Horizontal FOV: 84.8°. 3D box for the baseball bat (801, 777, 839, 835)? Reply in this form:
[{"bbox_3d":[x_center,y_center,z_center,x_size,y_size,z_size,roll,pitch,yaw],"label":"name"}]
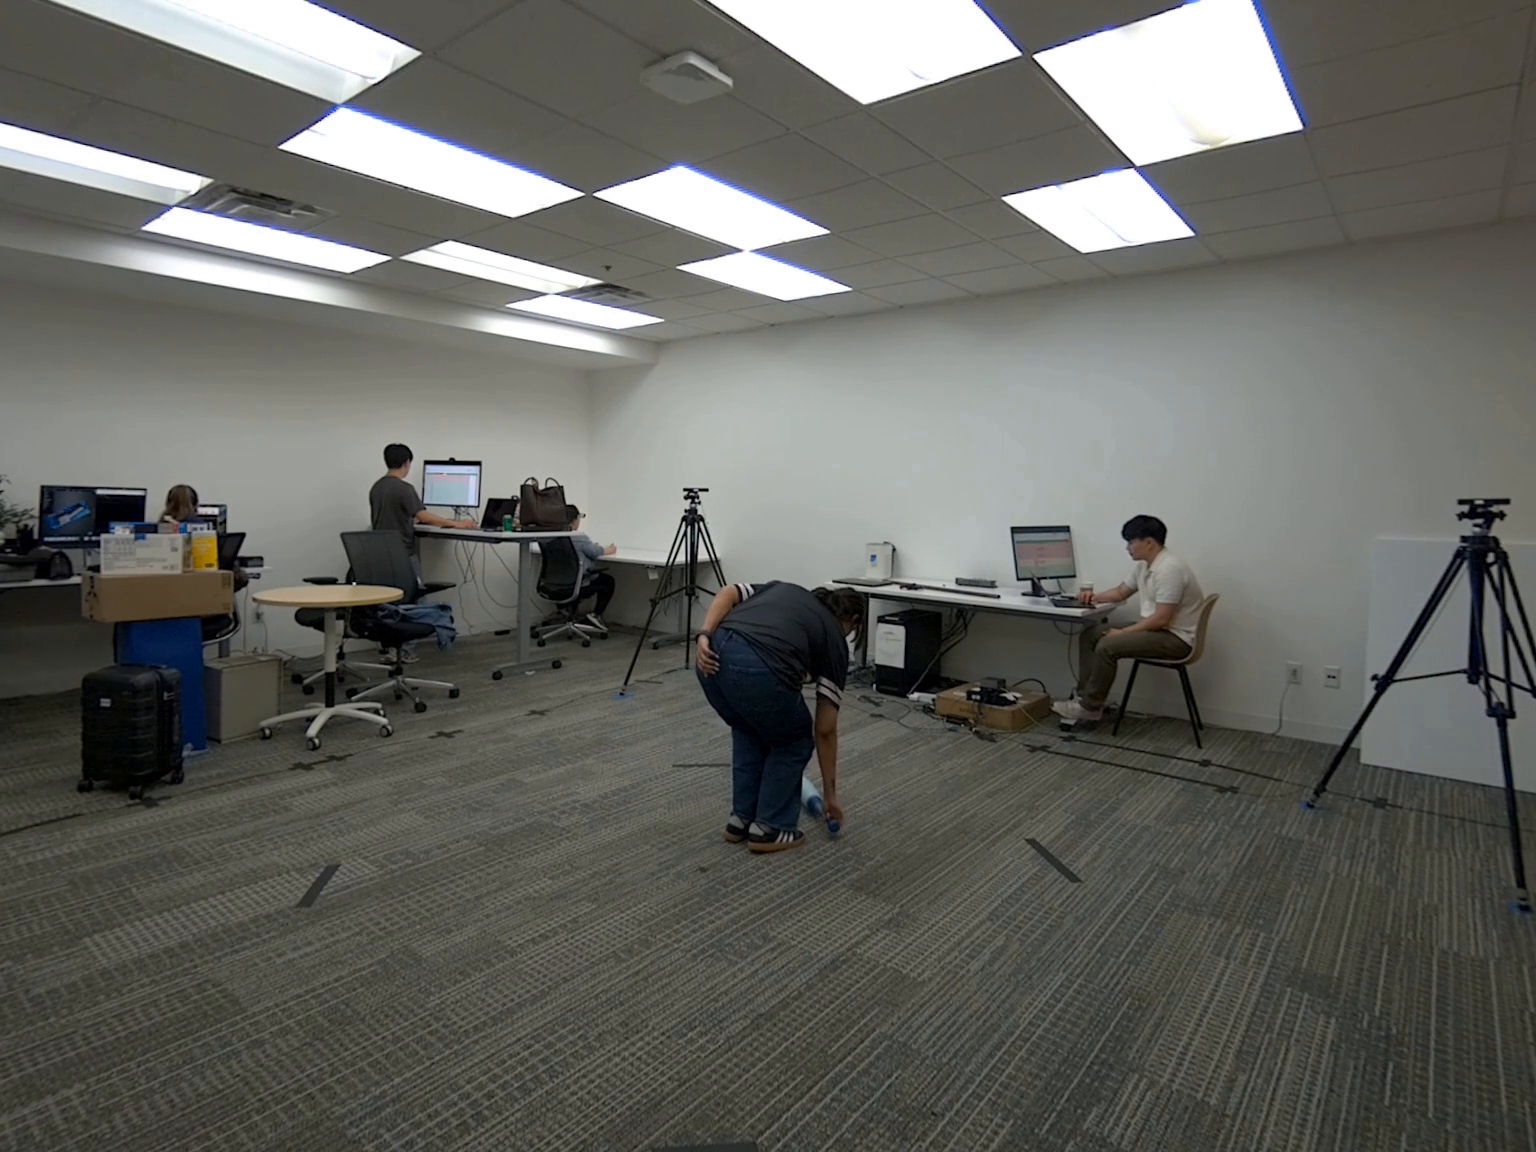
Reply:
[{"bbox_3d":[0.196,0.971,3.647,0.088,0.089,0.551,0,5,-12],"label":"baseball bat"}]
